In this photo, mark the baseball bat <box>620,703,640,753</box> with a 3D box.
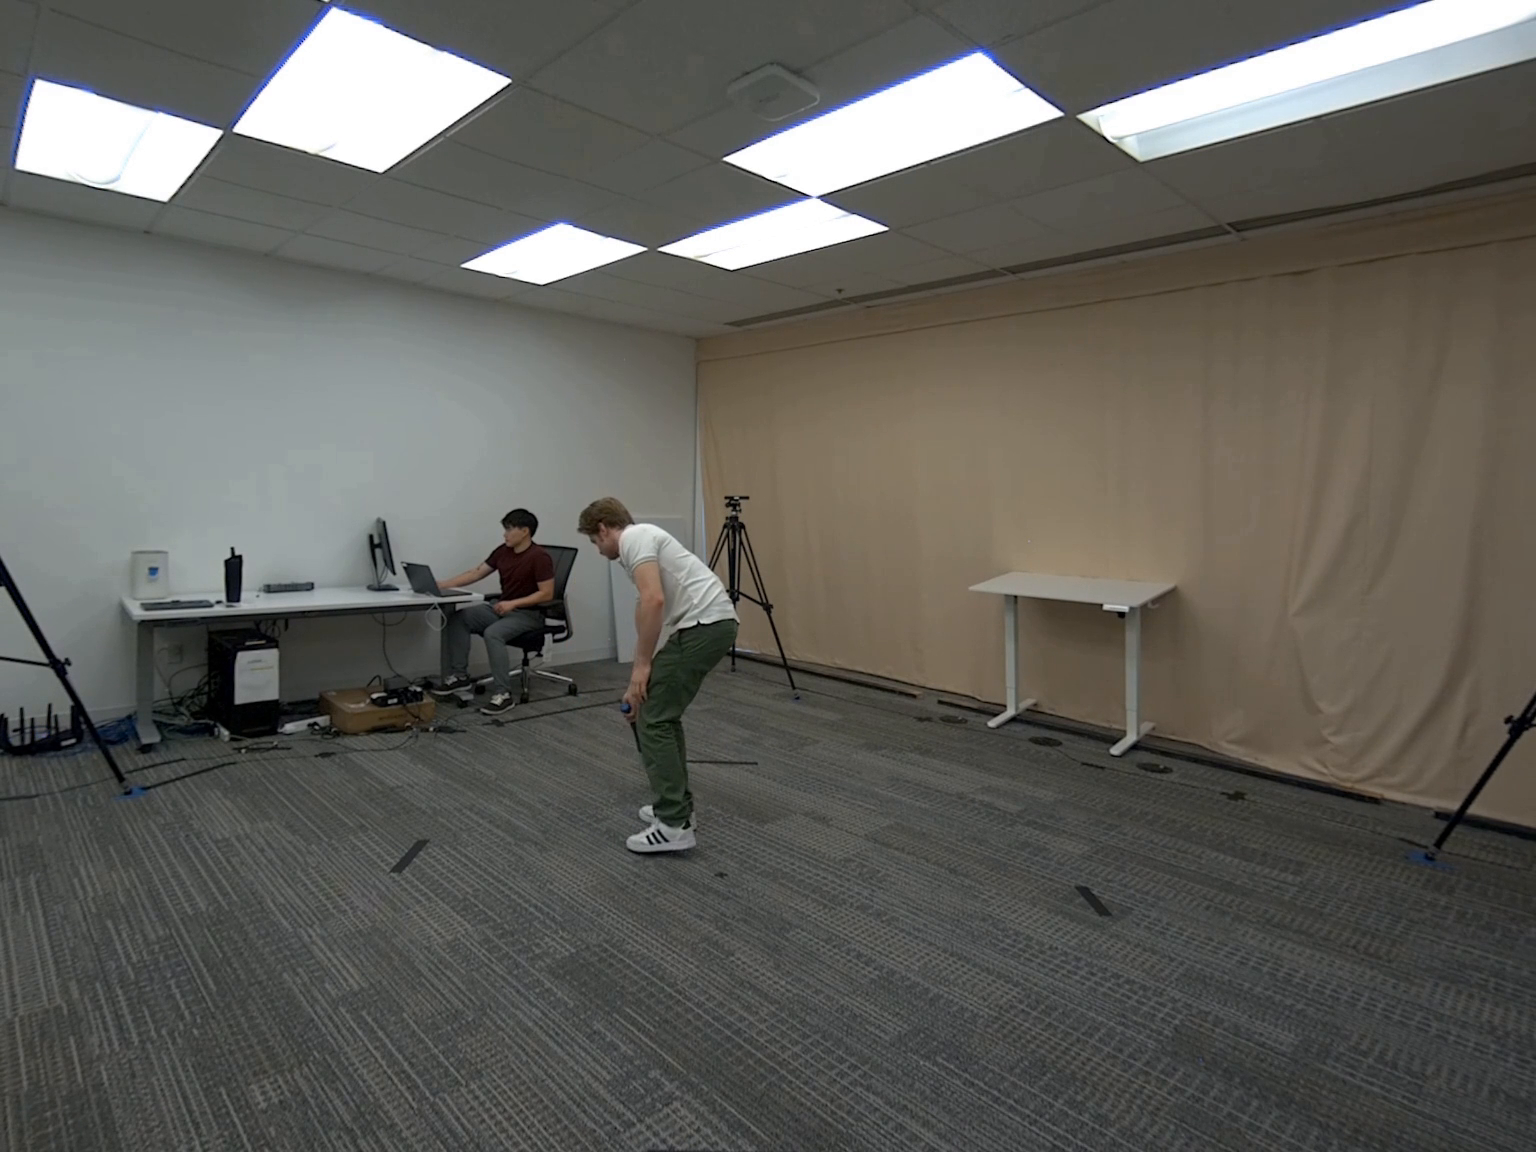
[{"bbox_3d":[-0.592,0.792,3.926,0.089,0.529,0.091,-11,37,7],"label":"baseball bat"}]
